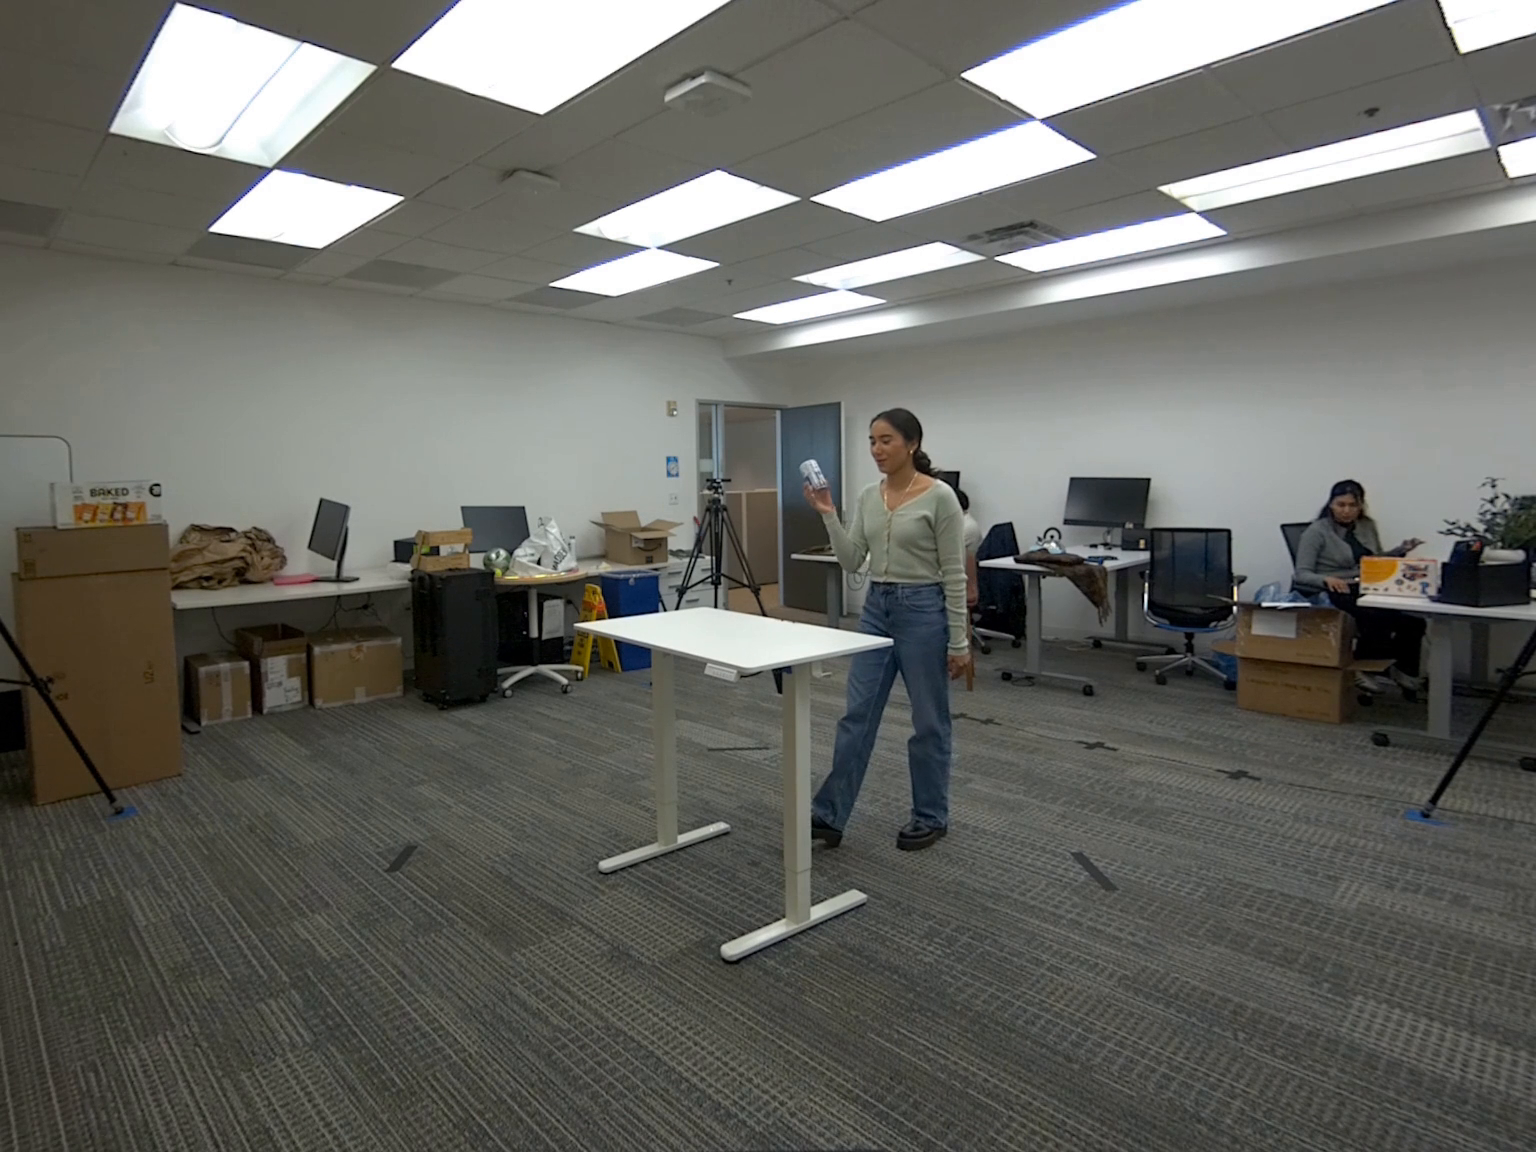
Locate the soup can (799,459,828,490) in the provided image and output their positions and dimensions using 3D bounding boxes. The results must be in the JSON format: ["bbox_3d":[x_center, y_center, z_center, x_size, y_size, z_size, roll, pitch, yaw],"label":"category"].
[{"bbox_3d":[0.174,-0.358,3.121,0.067,0.124,0.066,-19,-14,-6],"label":"soup can"}]
